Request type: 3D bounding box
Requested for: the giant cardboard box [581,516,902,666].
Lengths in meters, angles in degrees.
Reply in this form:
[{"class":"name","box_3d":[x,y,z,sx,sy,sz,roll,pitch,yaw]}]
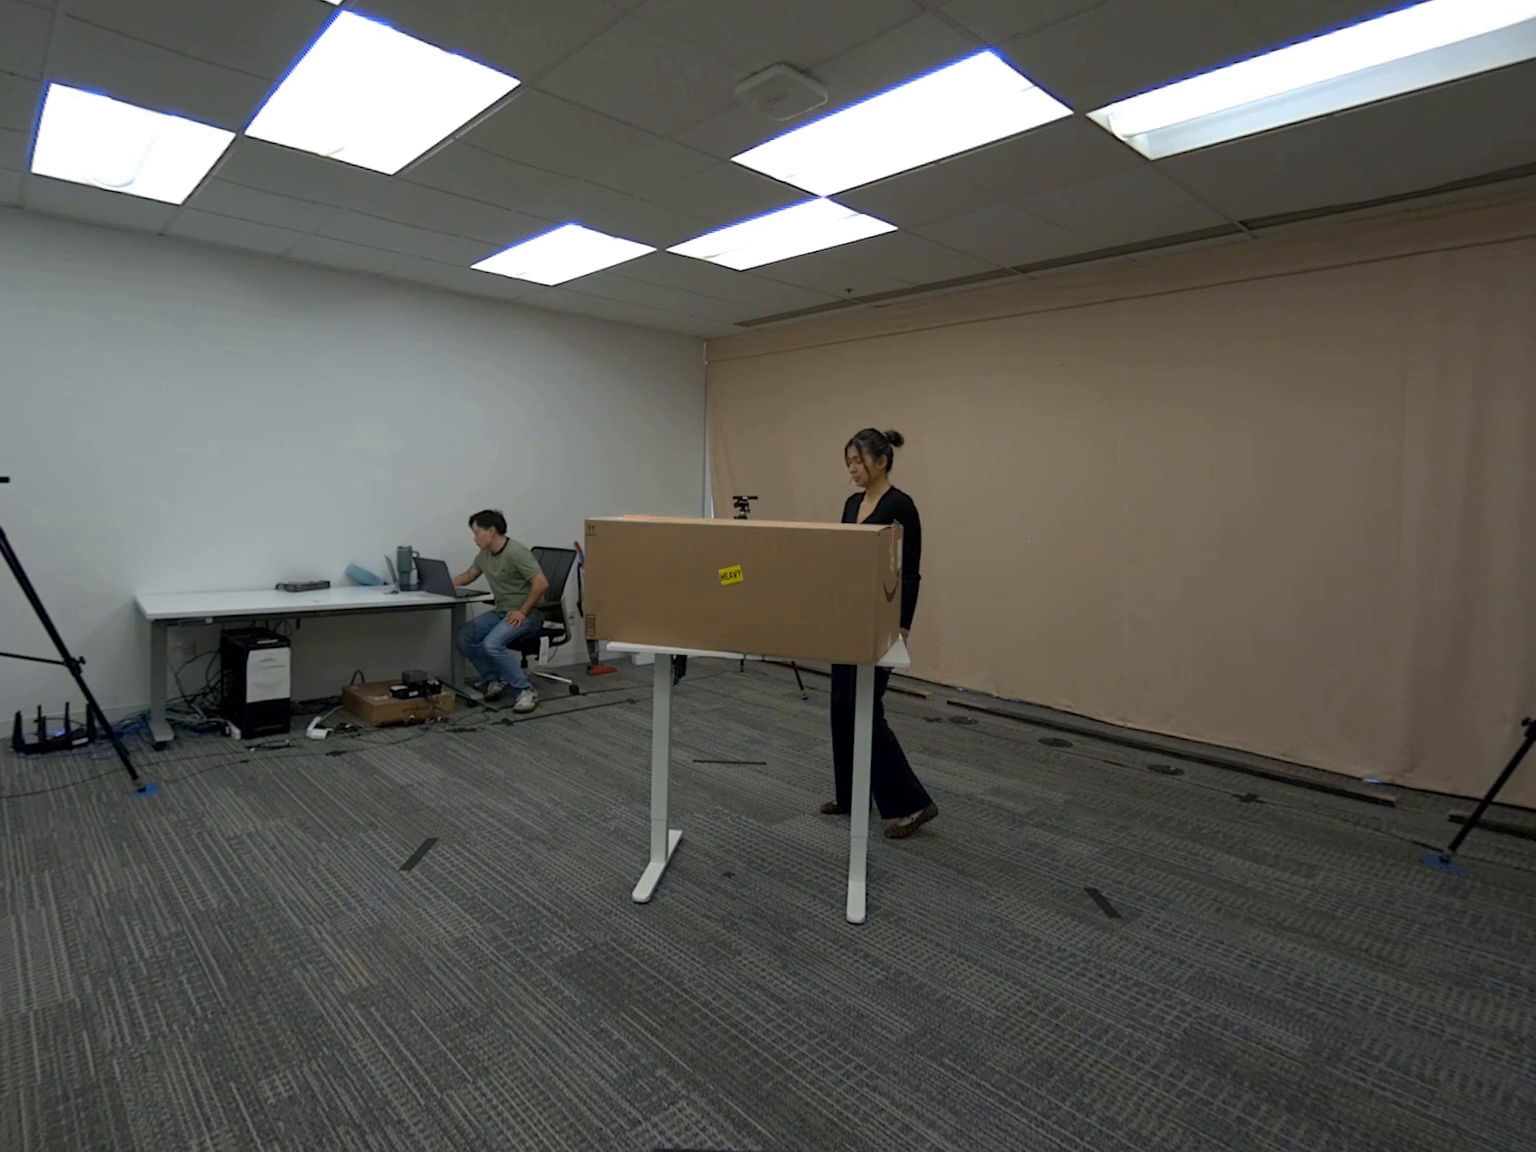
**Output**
[{"class":"giant cardboard box","box_3d":[-0.081,0.015,3.030,1.042,0.425,0.570,4,5,19]}]
